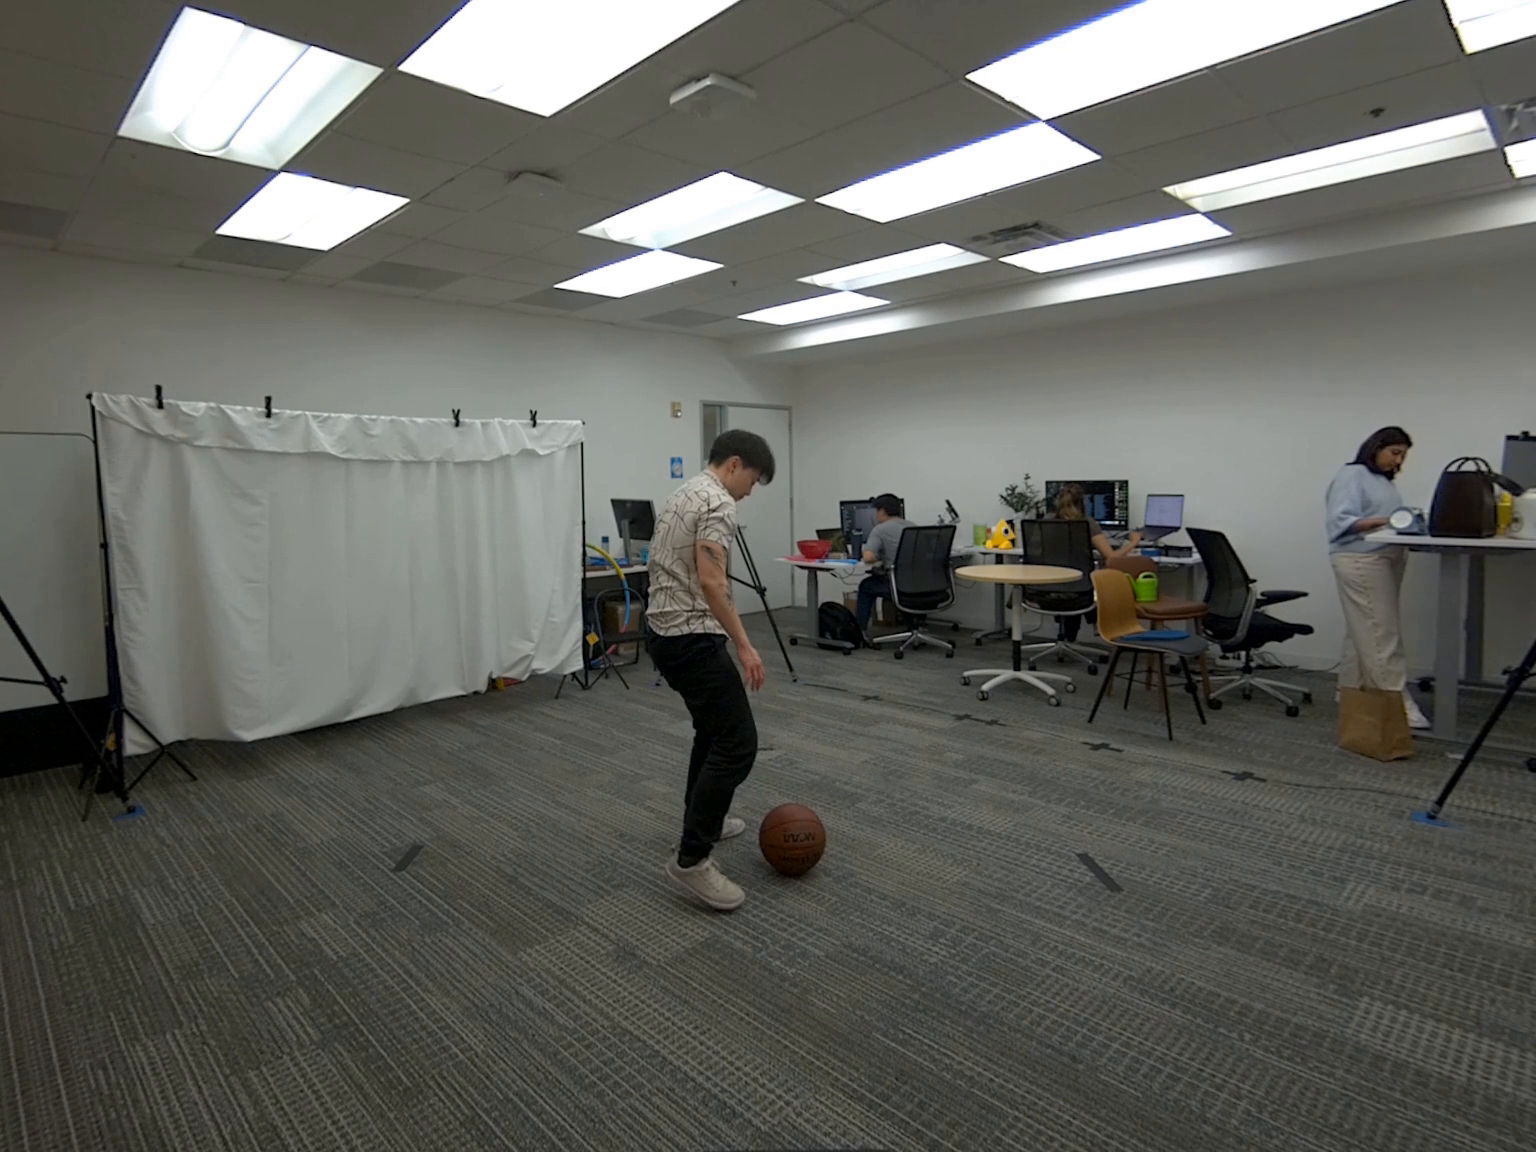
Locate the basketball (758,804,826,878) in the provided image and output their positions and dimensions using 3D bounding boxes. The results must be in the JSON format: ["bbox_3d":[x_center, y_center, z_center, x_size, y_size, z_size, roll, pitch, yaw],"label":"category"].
[{"bbox_3d":[0.090,0.931,3.039,0.236,0.235,0.237,-1,5,-2],"label":"basketball"}]
